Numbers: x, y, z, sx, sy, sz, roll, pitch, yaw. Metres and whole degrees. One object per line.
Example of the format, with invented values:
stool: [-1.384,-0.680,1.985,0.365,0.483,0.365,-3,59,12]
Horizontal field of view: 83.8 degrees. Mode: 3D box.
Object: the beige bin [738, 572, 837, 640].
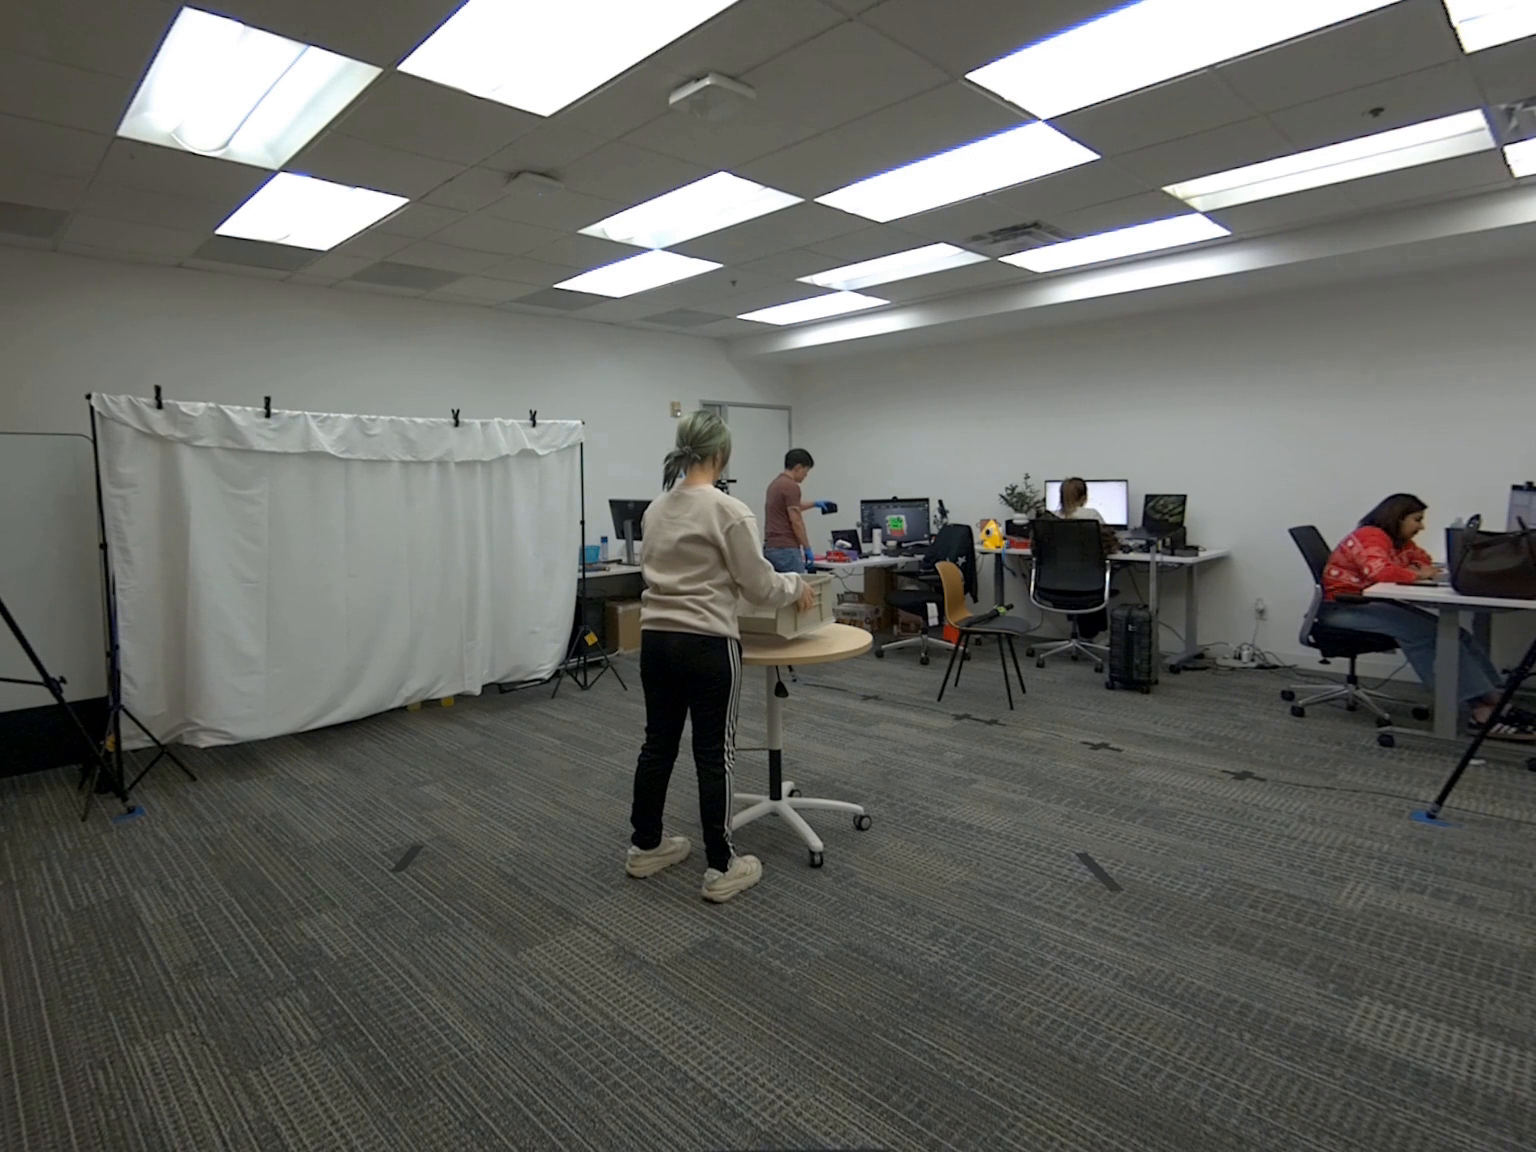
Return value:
beige bin: [-0.011,0.111,3.293,0.435,0.188,0.369,1,9,40]
